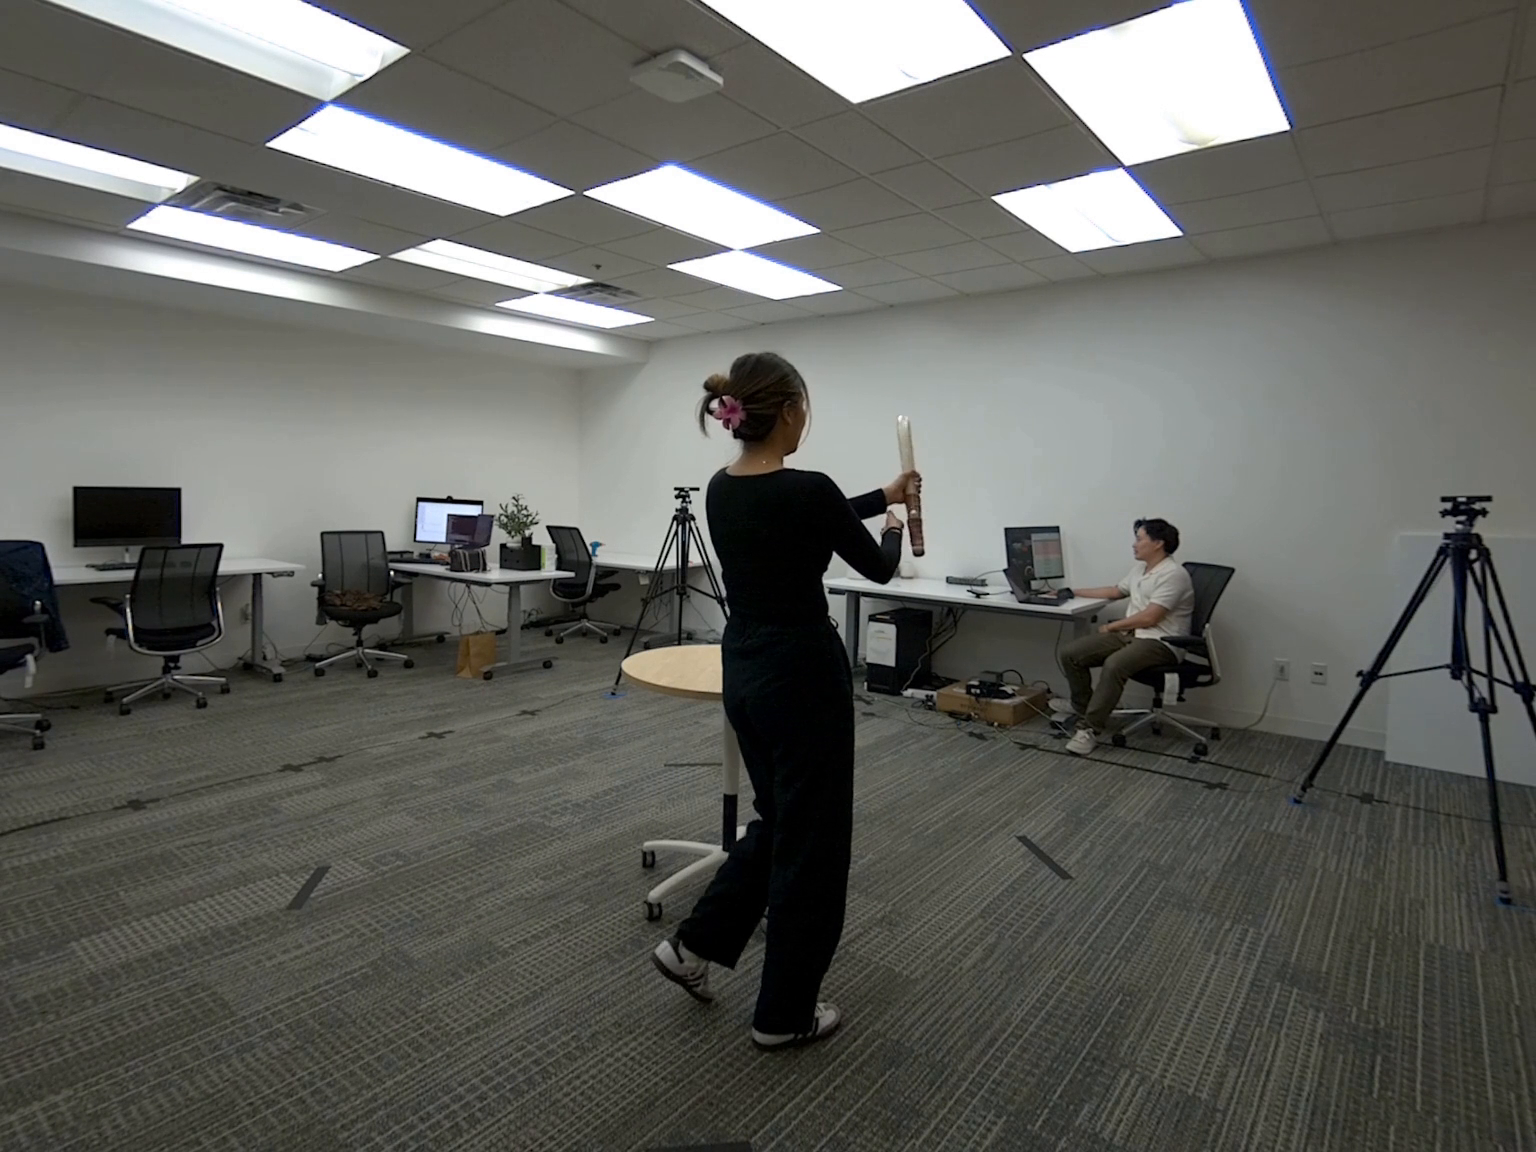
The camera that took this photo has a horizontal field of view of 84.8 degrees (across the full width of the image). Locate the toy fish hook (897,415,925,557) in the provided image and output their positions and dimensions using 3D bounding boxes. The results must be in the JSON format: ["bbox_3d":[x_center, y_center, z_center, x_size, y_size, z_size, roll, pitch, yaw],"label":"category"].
[{"bbox_3d":[0.427,-0.245,2.497,0.049,0.519,0.216,-9,-34,16],"label":"toy fish hook"}]
